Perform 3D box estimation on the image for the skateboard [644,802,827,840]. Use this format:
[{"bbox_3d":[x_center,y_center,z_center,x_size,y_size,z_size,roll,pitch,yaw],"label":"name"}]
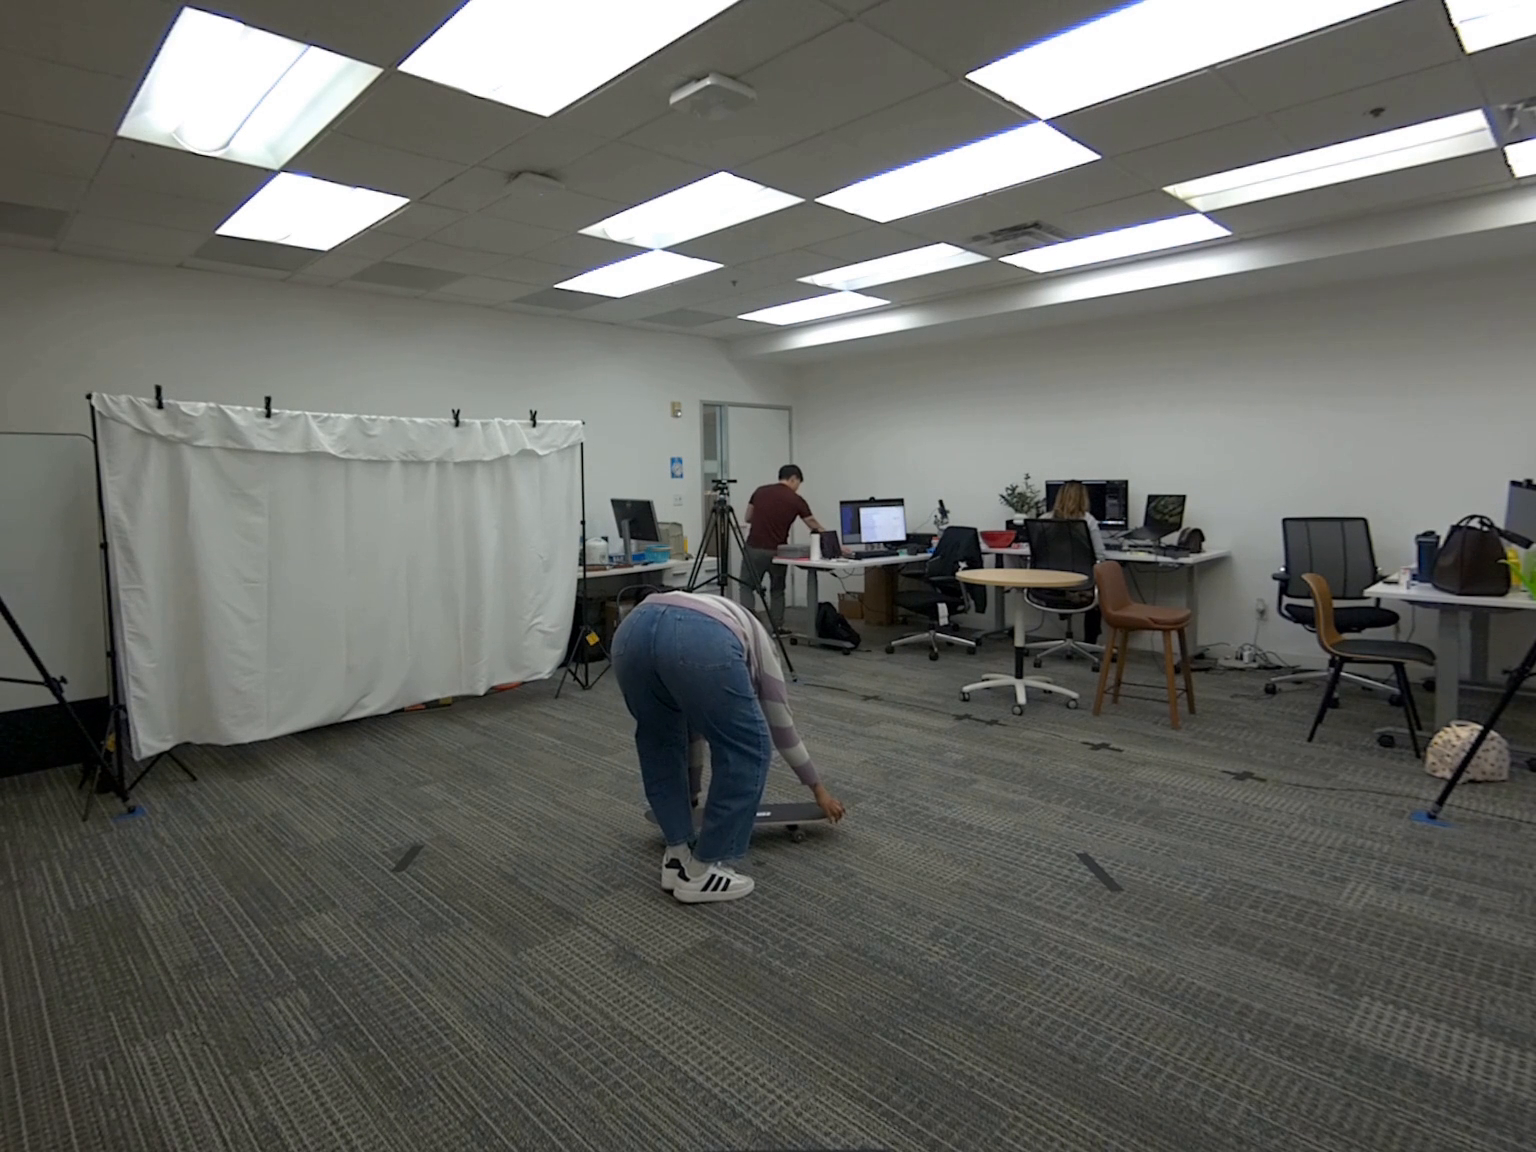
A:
[{"bbox_3d":[-0.079,0.956,3.336,0.780,0.110,0.196,-1,6,-6],"label":"skateboard"}]
